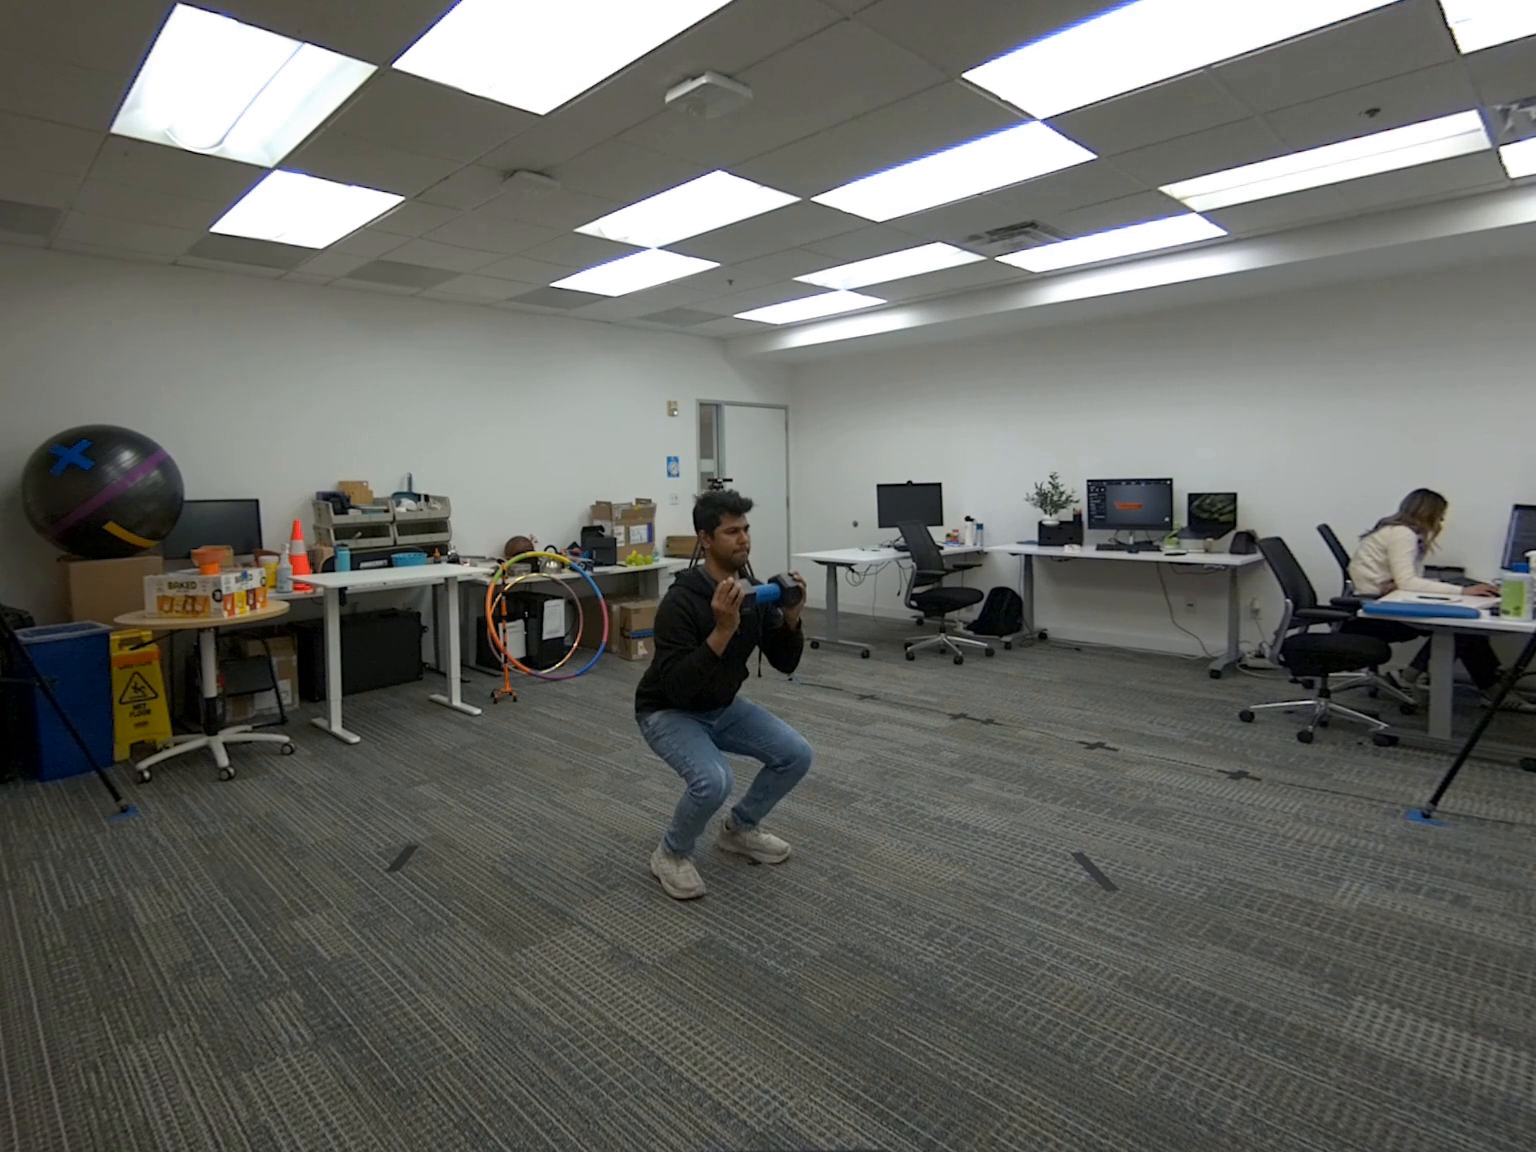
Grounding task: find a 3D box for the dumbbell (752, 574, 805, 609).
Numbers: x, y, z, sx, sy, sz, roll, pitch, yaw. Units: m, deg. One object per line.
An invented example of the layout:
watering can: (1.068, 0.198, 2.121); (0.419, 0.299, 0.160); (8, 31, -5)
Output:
dumbbell: (-0.030, 0.061, 2.832); (0.286, 0.122, 0.112); (-6, 14, -44)
